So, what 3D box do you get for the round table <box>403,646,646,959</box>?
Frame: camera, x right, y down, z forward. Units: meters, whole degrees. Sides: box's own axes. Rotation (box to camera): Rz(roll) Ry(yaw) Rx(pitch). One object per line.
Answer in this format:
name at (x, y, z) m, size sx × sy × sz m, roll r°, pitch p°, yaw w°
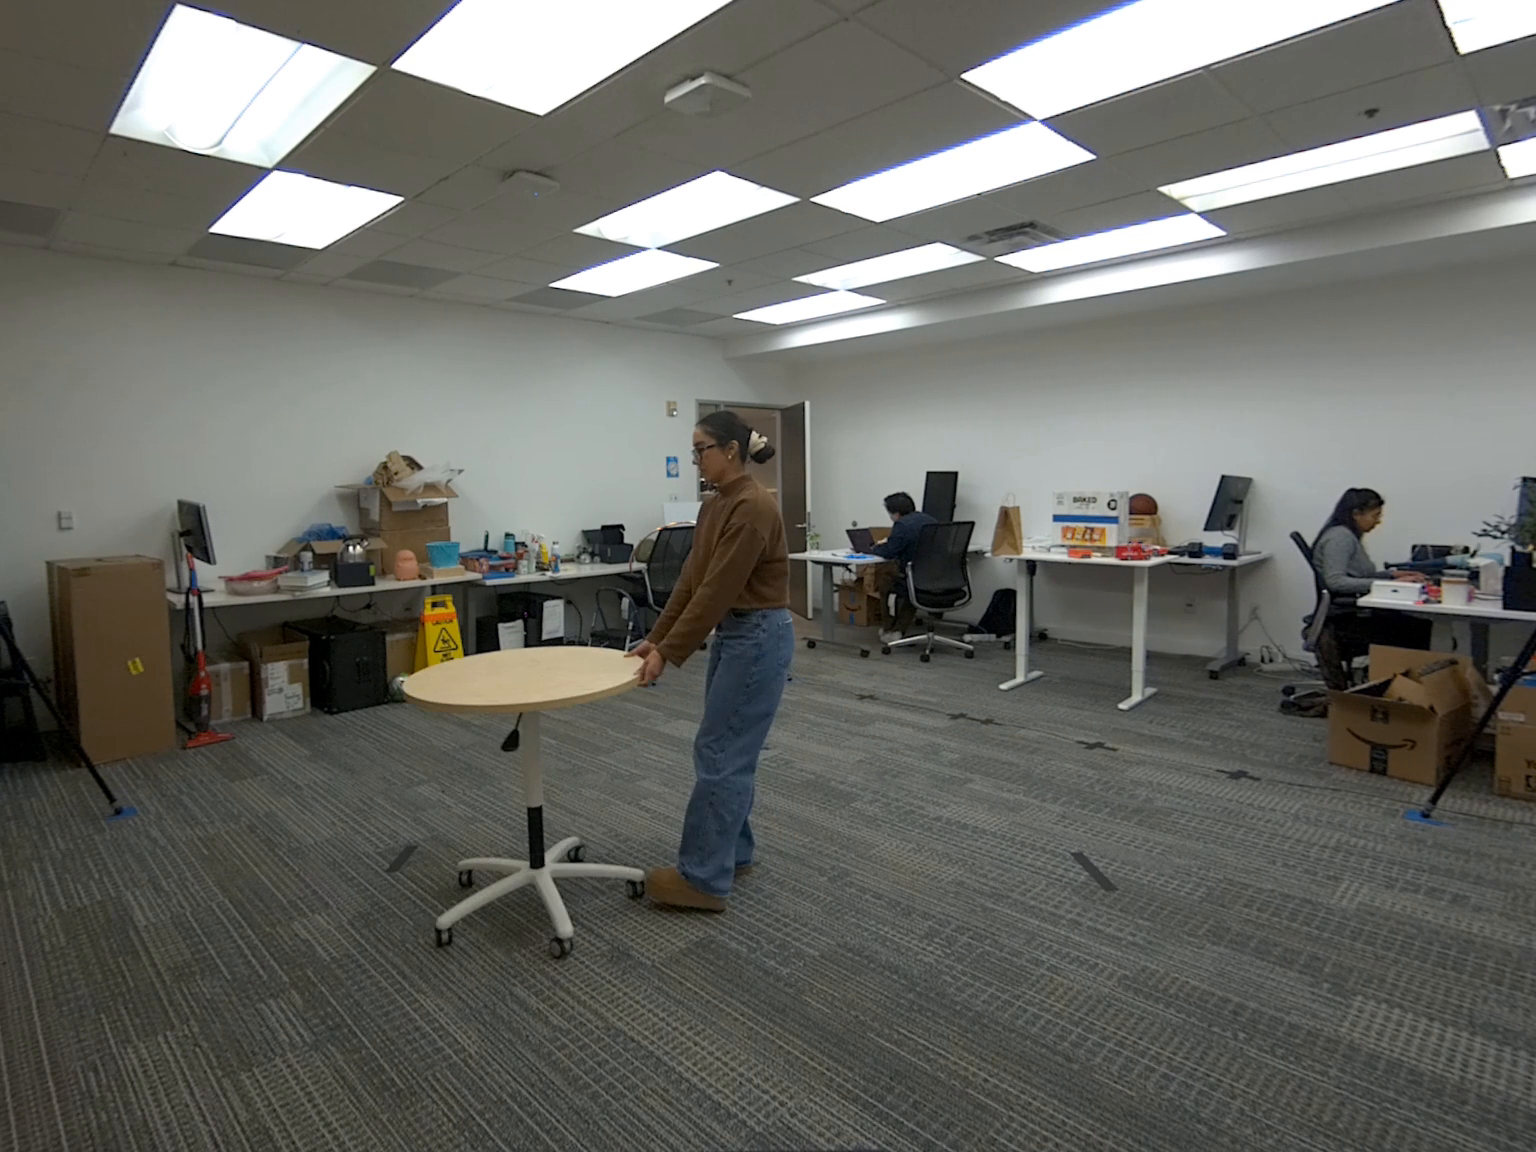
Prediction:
round table at (-0.734, 0.695, 2.803) m, size 0.785 × 0.783 × 0.789 m, roll -2°, pitch 6°, yaw -1°
